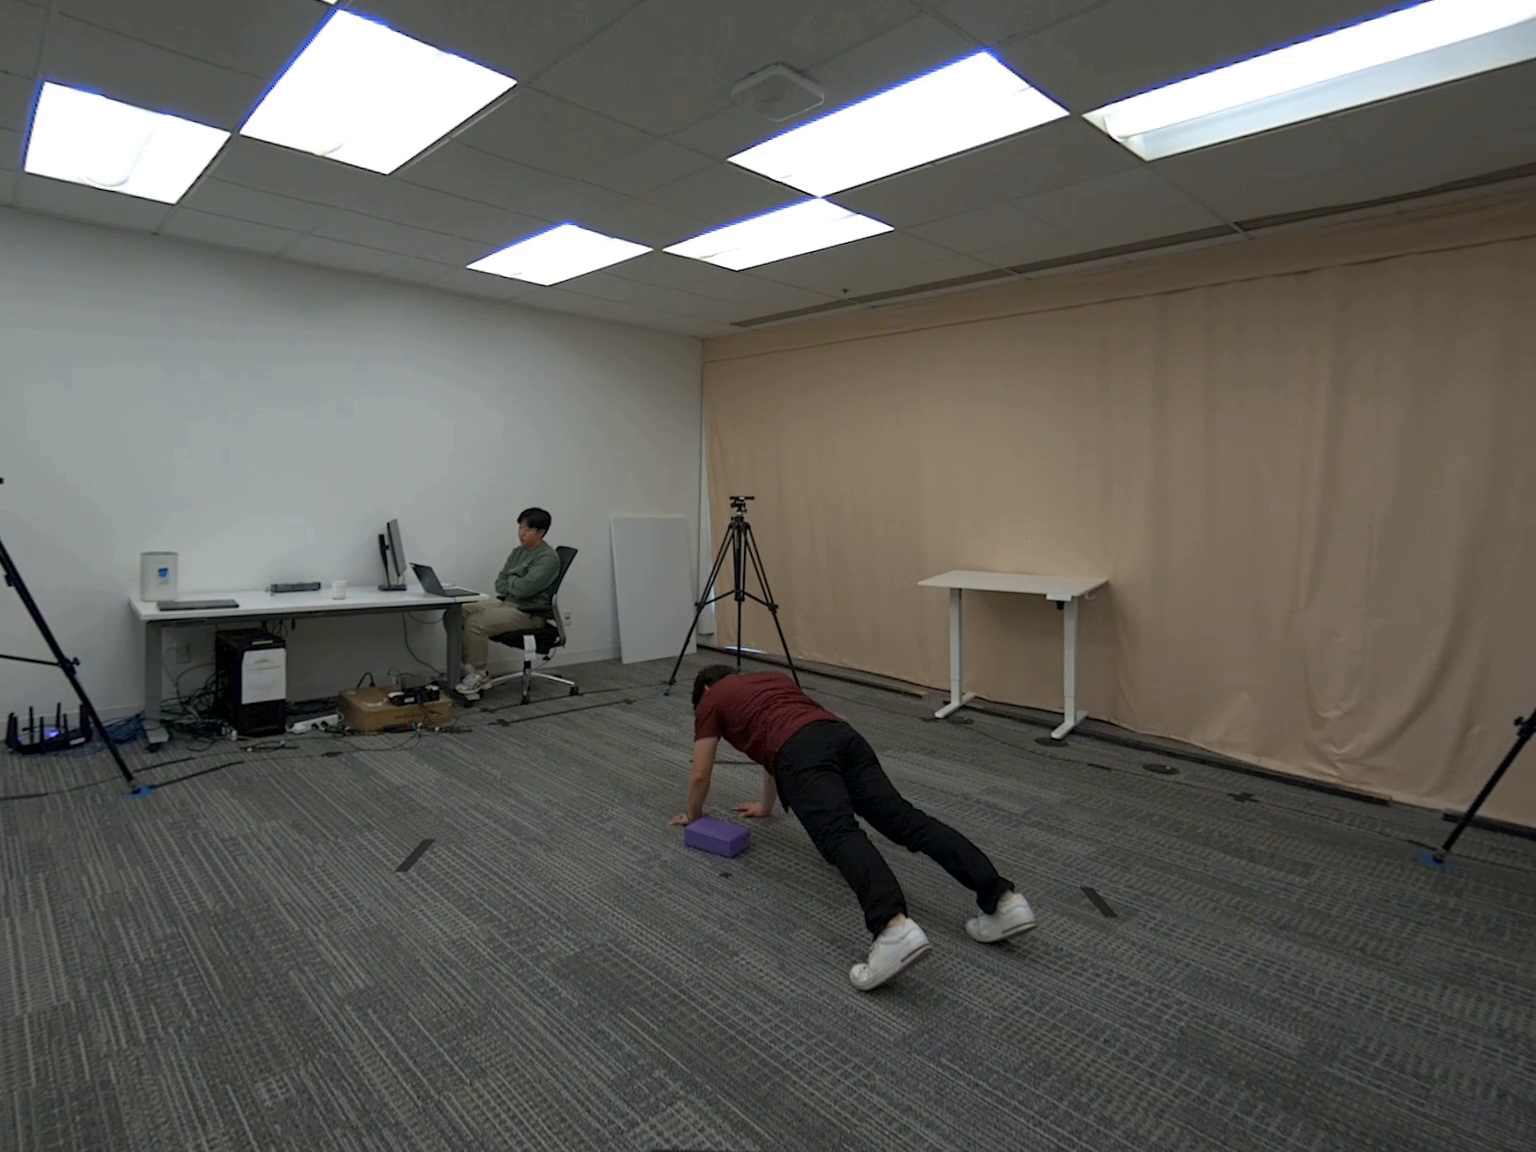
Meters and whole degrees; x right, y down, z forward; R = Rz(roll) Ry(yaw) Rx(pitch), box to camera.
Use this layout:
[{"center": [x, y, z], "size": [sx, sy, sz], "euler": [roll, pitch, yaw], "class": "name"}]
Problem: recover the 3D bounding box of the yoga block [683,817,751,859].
[{"center": [-0.211, 1.036, 3.356], "size": [0.235, 0.076, 0.146], "euler": [4, 6, 33], "class": "yoga block"}]
